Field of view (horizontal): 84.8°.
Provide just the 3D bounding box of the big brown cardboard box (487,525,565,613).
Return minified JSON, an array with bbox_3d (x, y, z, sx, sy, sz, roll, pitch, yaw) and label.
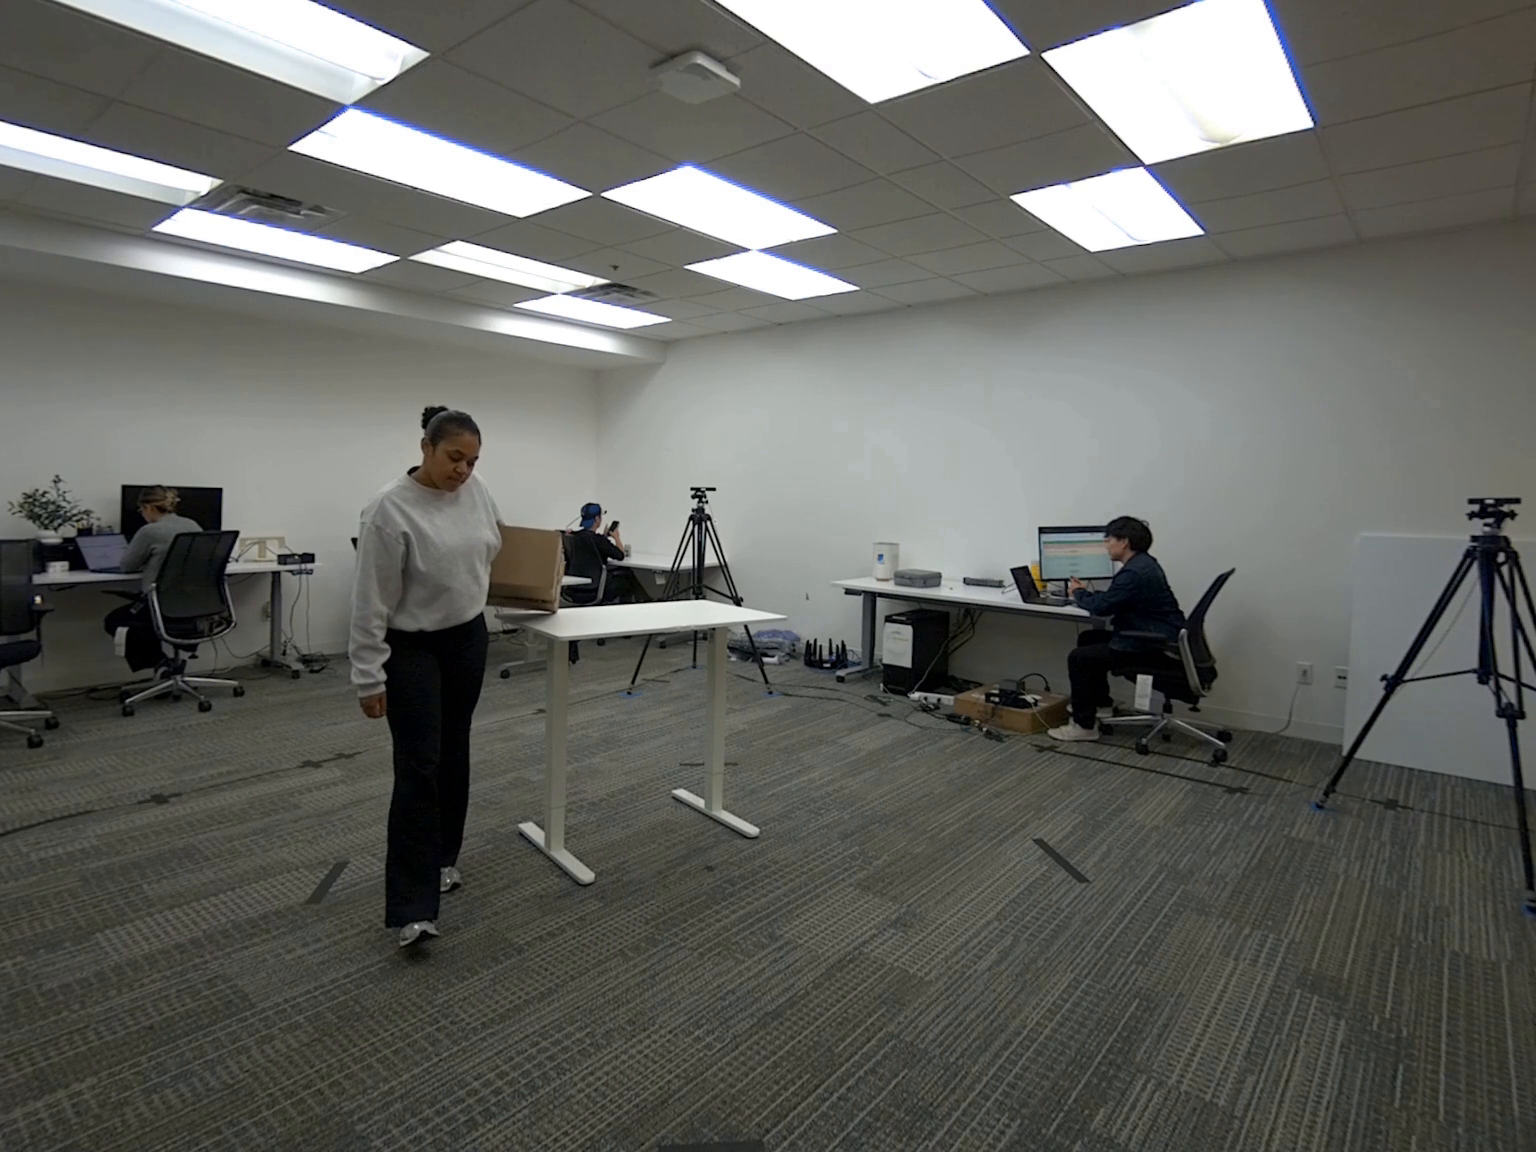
[{"bbox_3d":[-1.078,-0.038,3.188,0.585,0.236,0.414,4,-15,-6],"label":"big brown cardboard box"}]
